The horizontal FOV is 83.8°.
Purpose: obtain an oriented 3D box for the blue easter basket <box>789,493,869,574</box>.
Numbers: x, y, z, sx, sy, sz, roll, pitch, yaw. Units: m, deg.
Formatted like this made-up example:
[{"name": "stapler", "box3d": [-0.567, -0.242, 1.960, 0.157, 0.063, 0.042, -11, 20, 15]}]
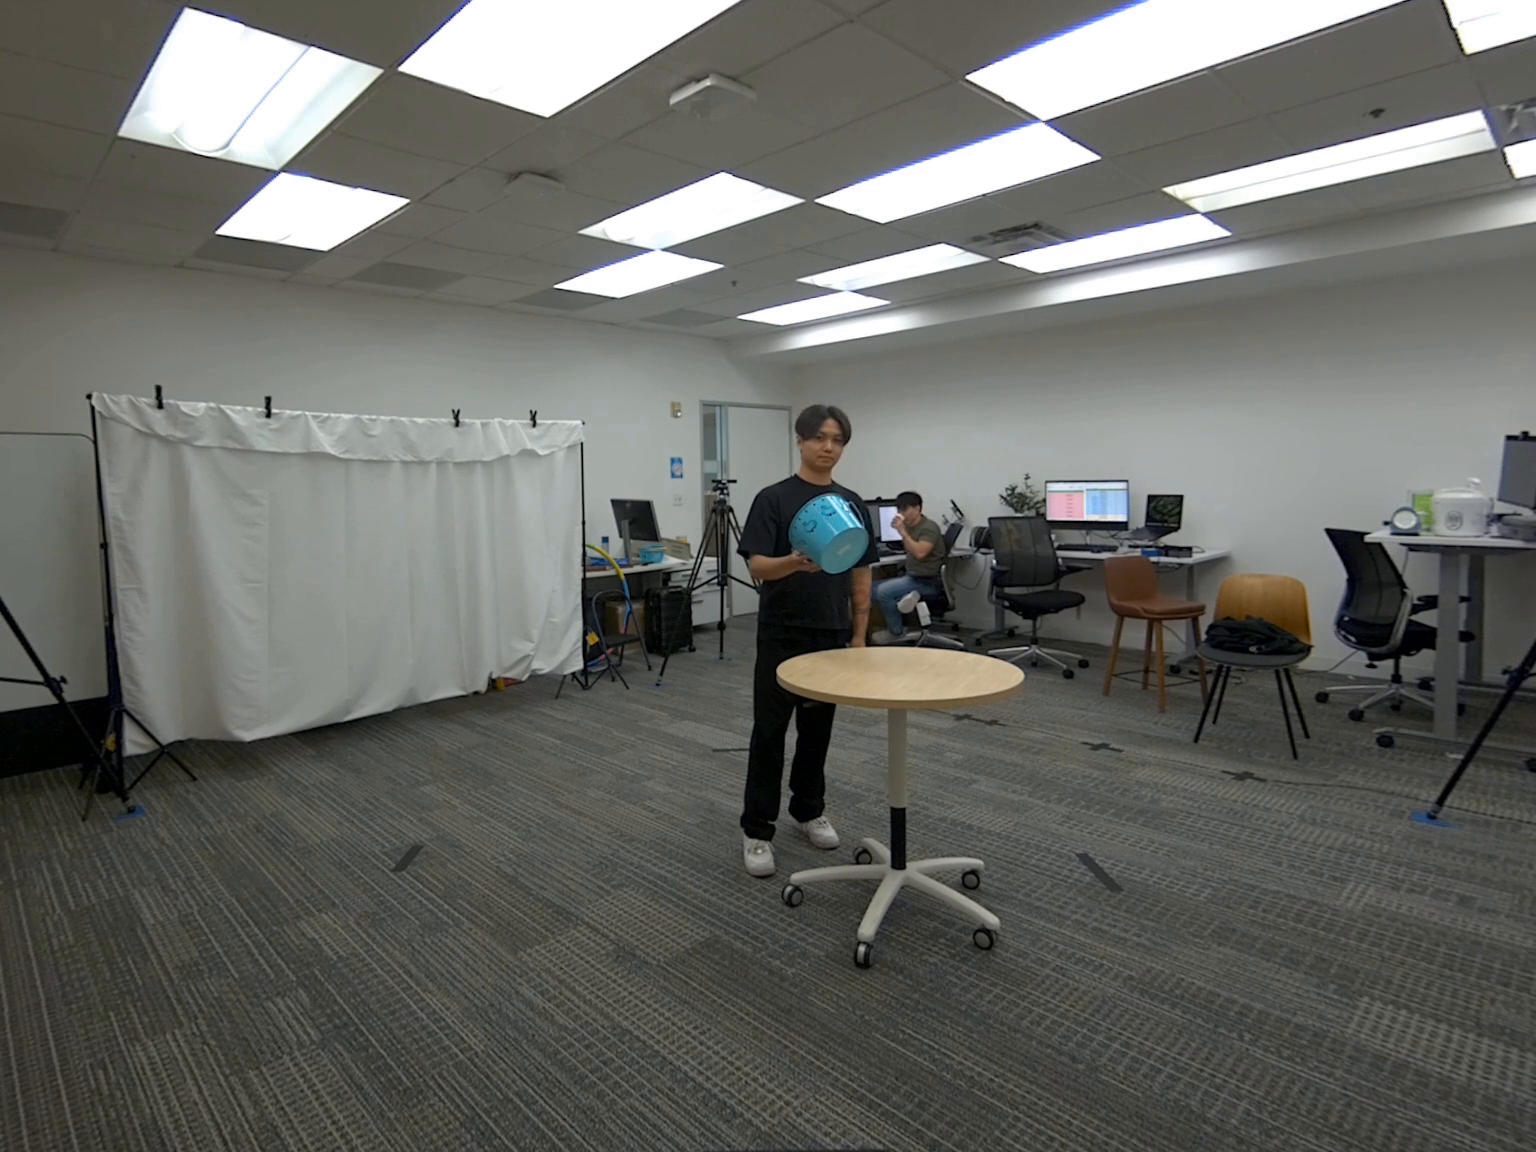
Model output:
[{"name": "blue easter basket", "box3d": [0.201, -0.126, 2.753, 0.237, 0.240, 0.162, -4, 38, -35]}]
